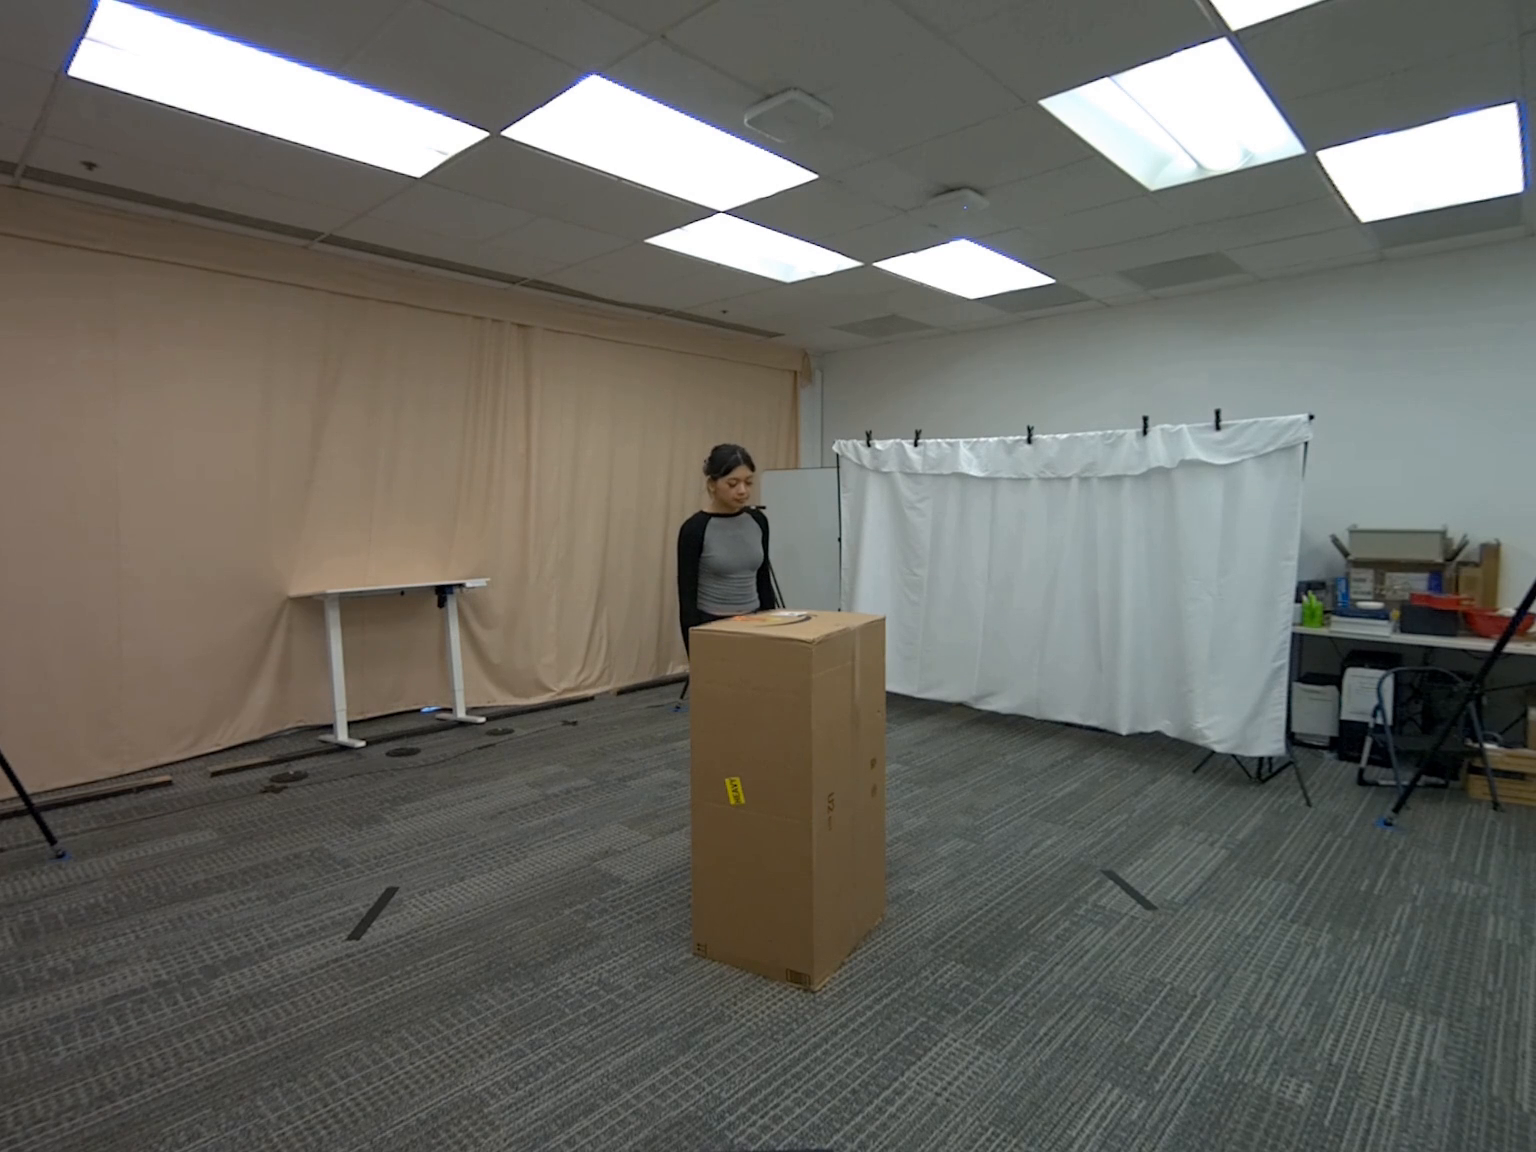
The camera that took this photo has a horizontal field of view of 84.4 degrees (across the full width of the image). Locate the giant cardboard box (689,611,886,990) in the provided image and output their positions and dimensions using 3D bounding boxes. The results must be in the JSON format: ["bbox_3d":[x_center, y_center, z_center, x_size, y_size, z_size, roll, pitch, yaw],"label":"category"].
[{"bbox_3d":[0.085,0.657,2.725,0.439,1.024,0.562,1,3,31],"label":"giant cardboard box"}]
